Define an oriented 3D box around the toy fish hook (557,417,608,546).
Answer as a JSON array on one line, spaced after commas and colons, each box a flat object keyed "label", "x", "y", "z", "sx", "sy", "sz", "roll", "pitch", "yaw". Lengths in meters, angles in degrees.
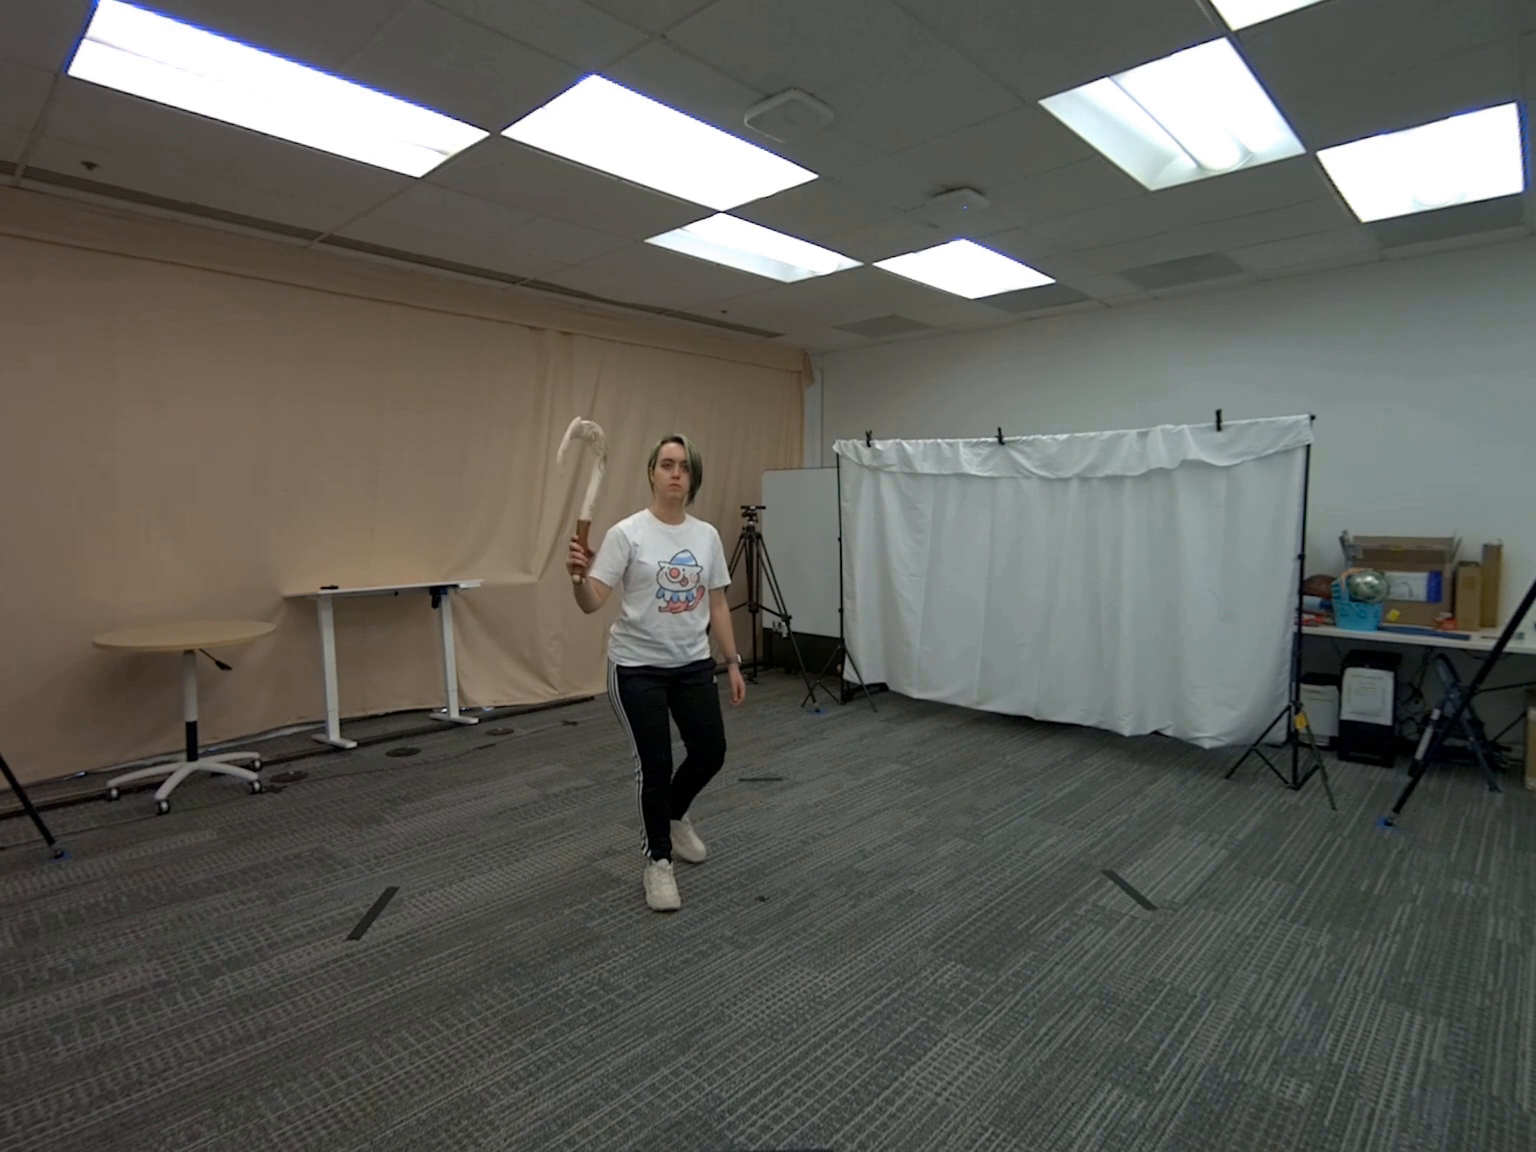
[{"label": "toy fish hook", "x": -0.588, "y": -0.219, "z": 2.585, "sx": 0.050, "sy": 0.507, "sz": 0.218, "roll": 4, "pitch": -1, "yaw": 31}]
